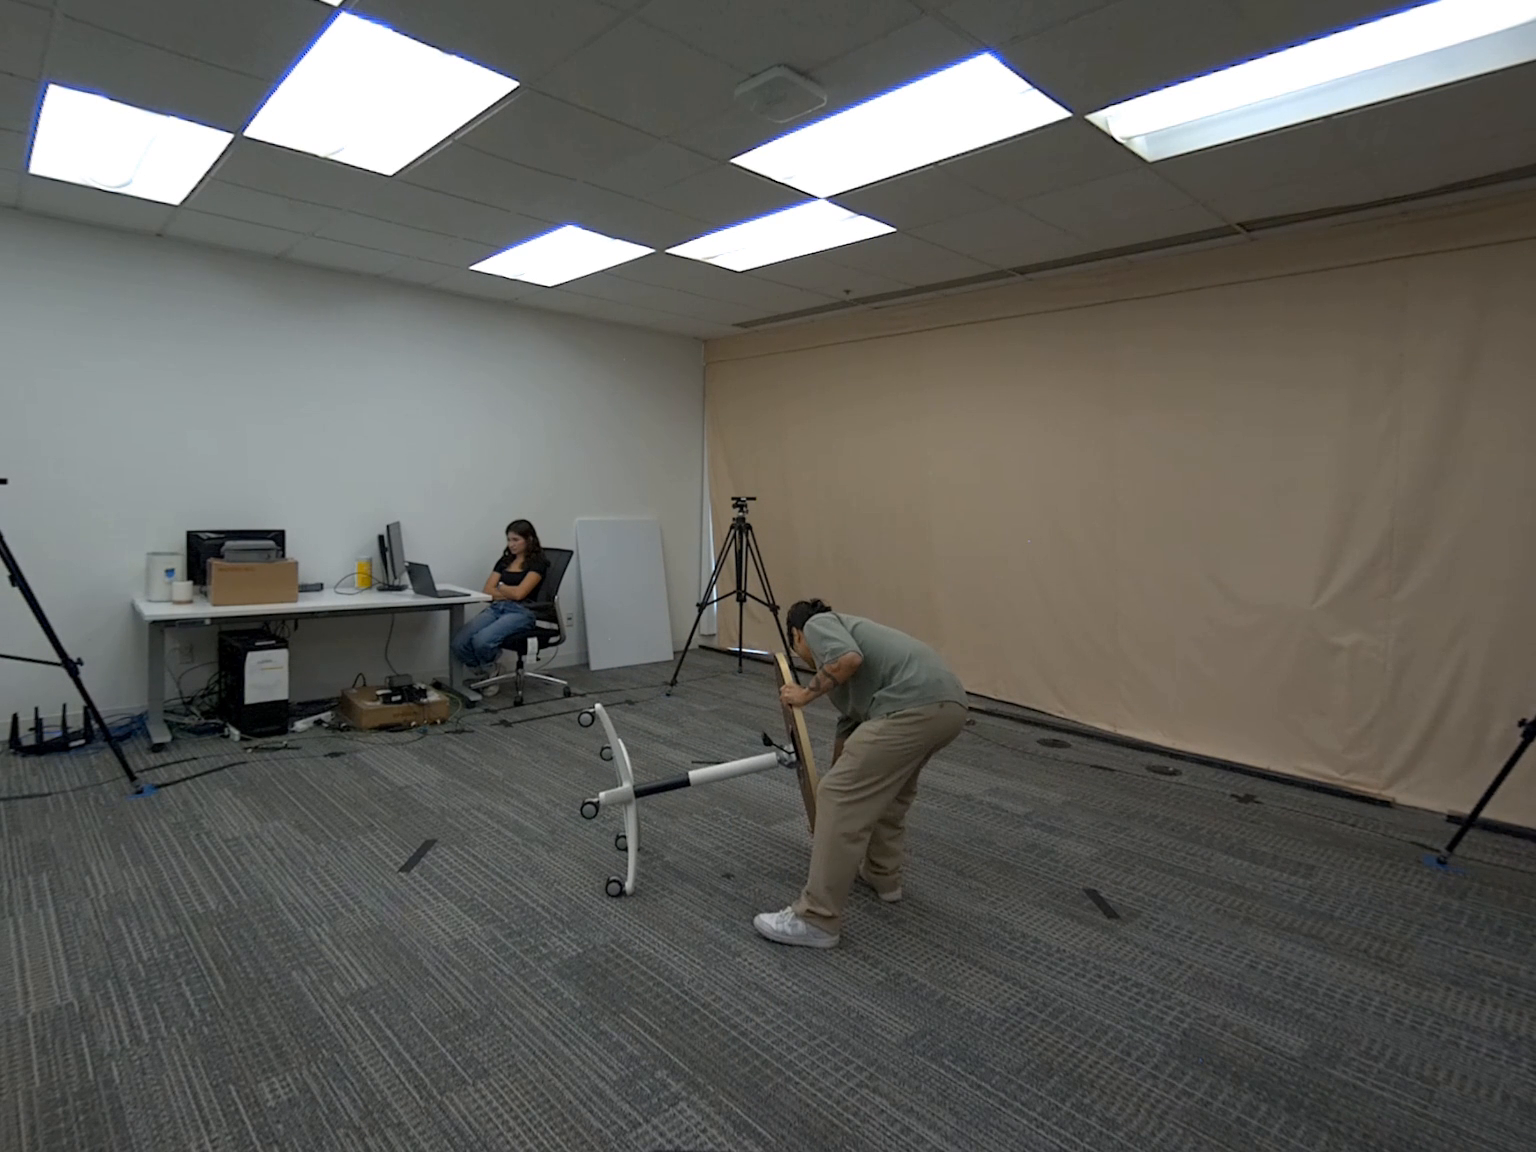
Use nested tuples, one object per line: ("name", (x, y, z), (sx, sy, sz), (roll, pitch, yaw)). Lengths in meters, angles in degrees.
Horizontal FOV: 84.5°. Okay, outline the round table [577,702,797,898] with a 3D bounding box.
("round table", (-0.256, 0.732, 3.136), (0.784, 0.782, 0.790), (-12, 5, -4))
